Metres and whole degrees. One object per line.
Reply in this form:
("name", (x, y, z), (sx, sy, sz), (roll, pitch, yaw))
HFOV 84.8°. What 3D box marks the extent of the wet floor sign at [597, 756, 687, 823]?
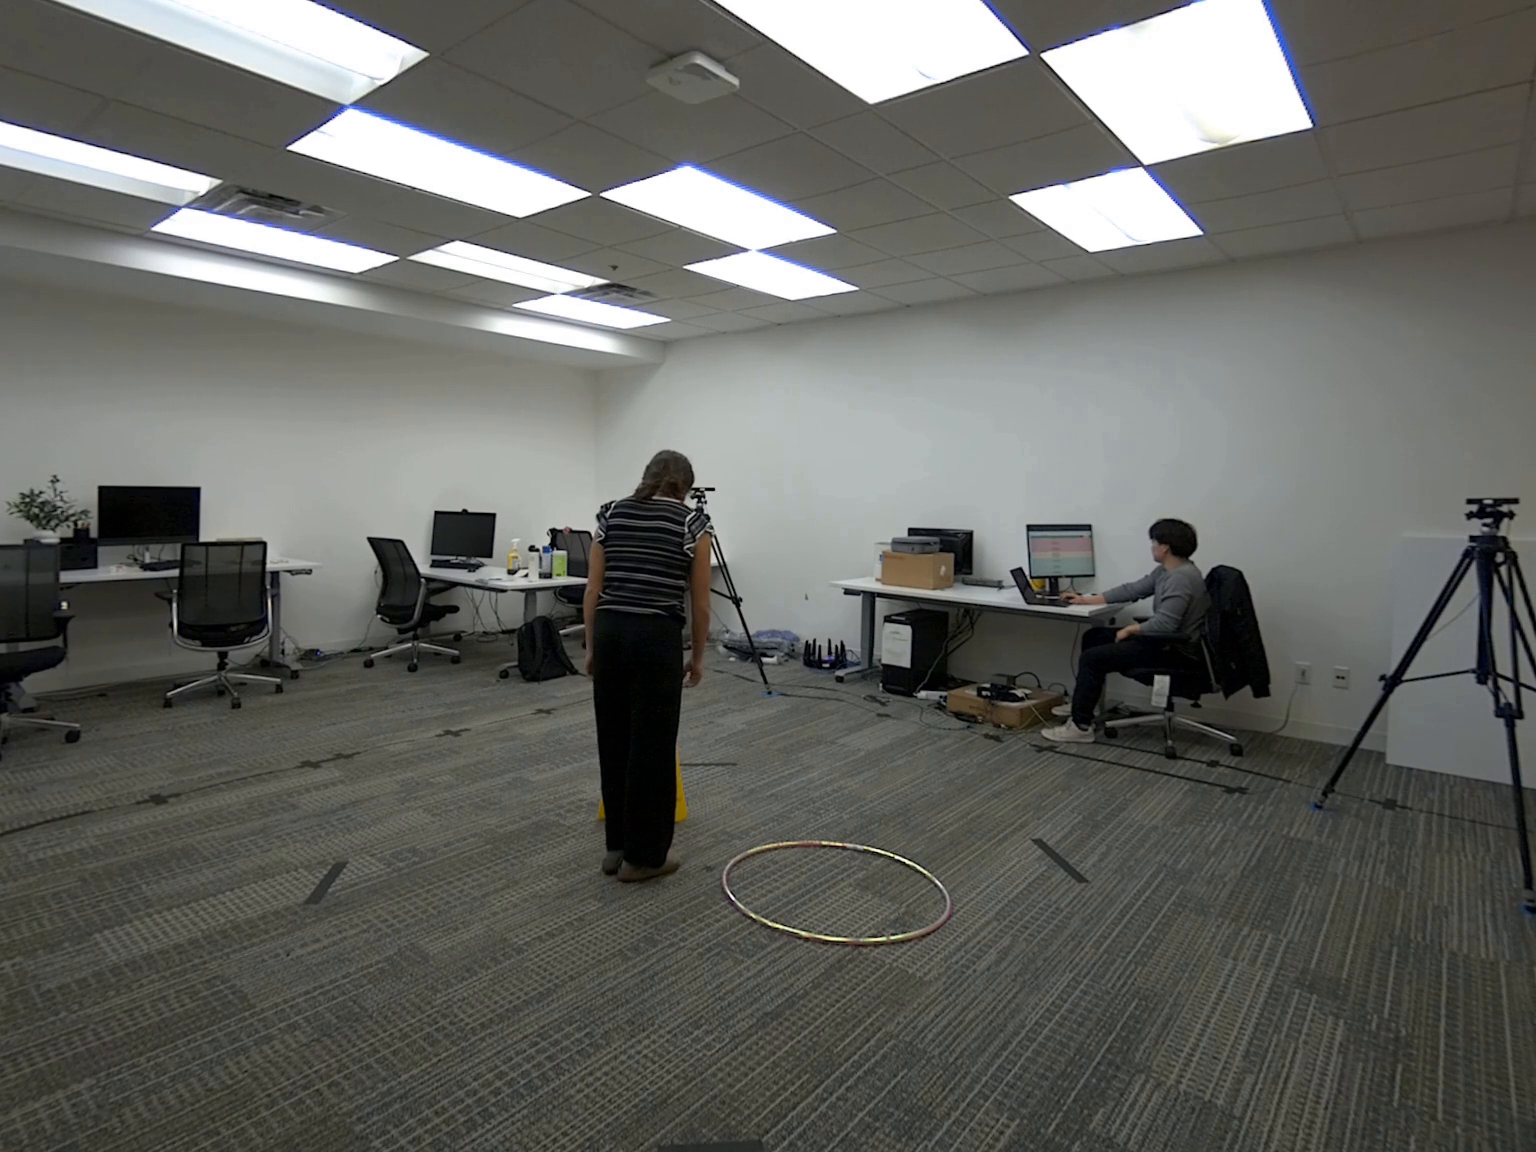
("wet floor sign", (-0.524, 0.690, 3.544), (0.299, 0.644, 0.274), (4, 5, 41))
